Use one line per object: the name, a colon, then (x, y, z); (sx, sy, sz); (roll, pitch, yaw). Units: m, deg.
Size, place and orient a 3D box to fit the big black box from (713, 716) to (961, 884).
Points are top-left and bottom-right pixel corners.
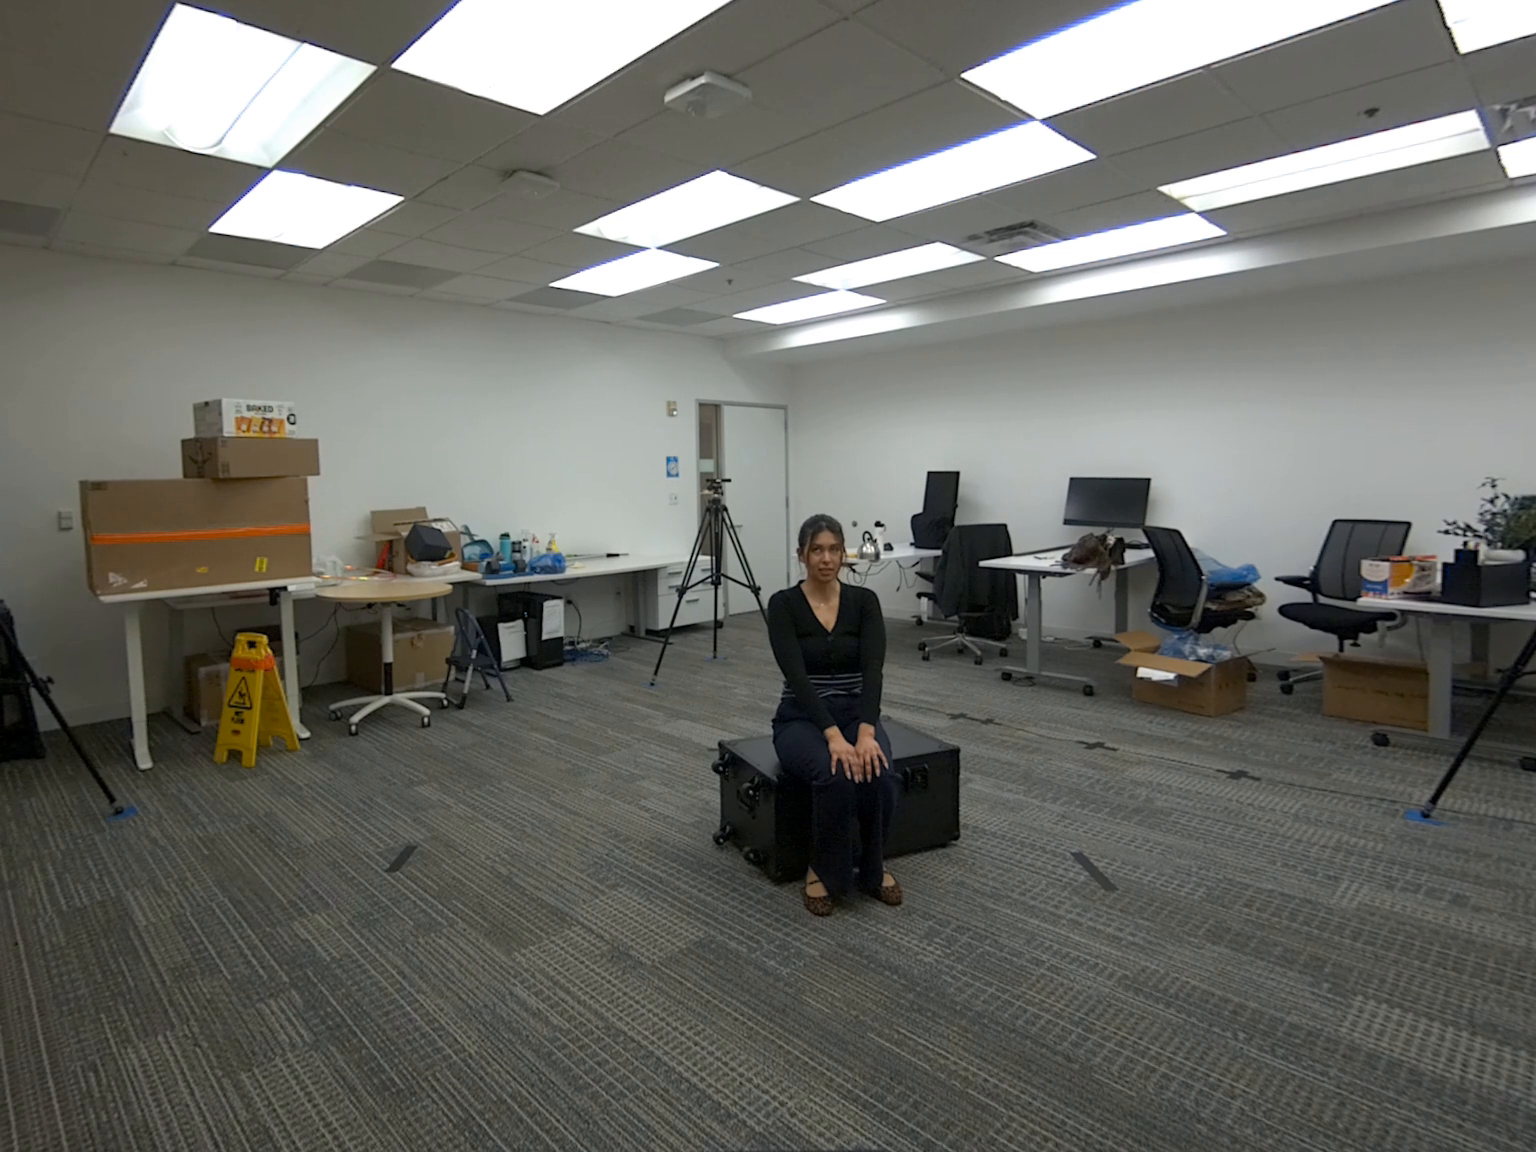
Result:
big black box: (0.293, 0.827, 3.289); (0.844, 0.394, 0.534); (-4, 6, -25)
